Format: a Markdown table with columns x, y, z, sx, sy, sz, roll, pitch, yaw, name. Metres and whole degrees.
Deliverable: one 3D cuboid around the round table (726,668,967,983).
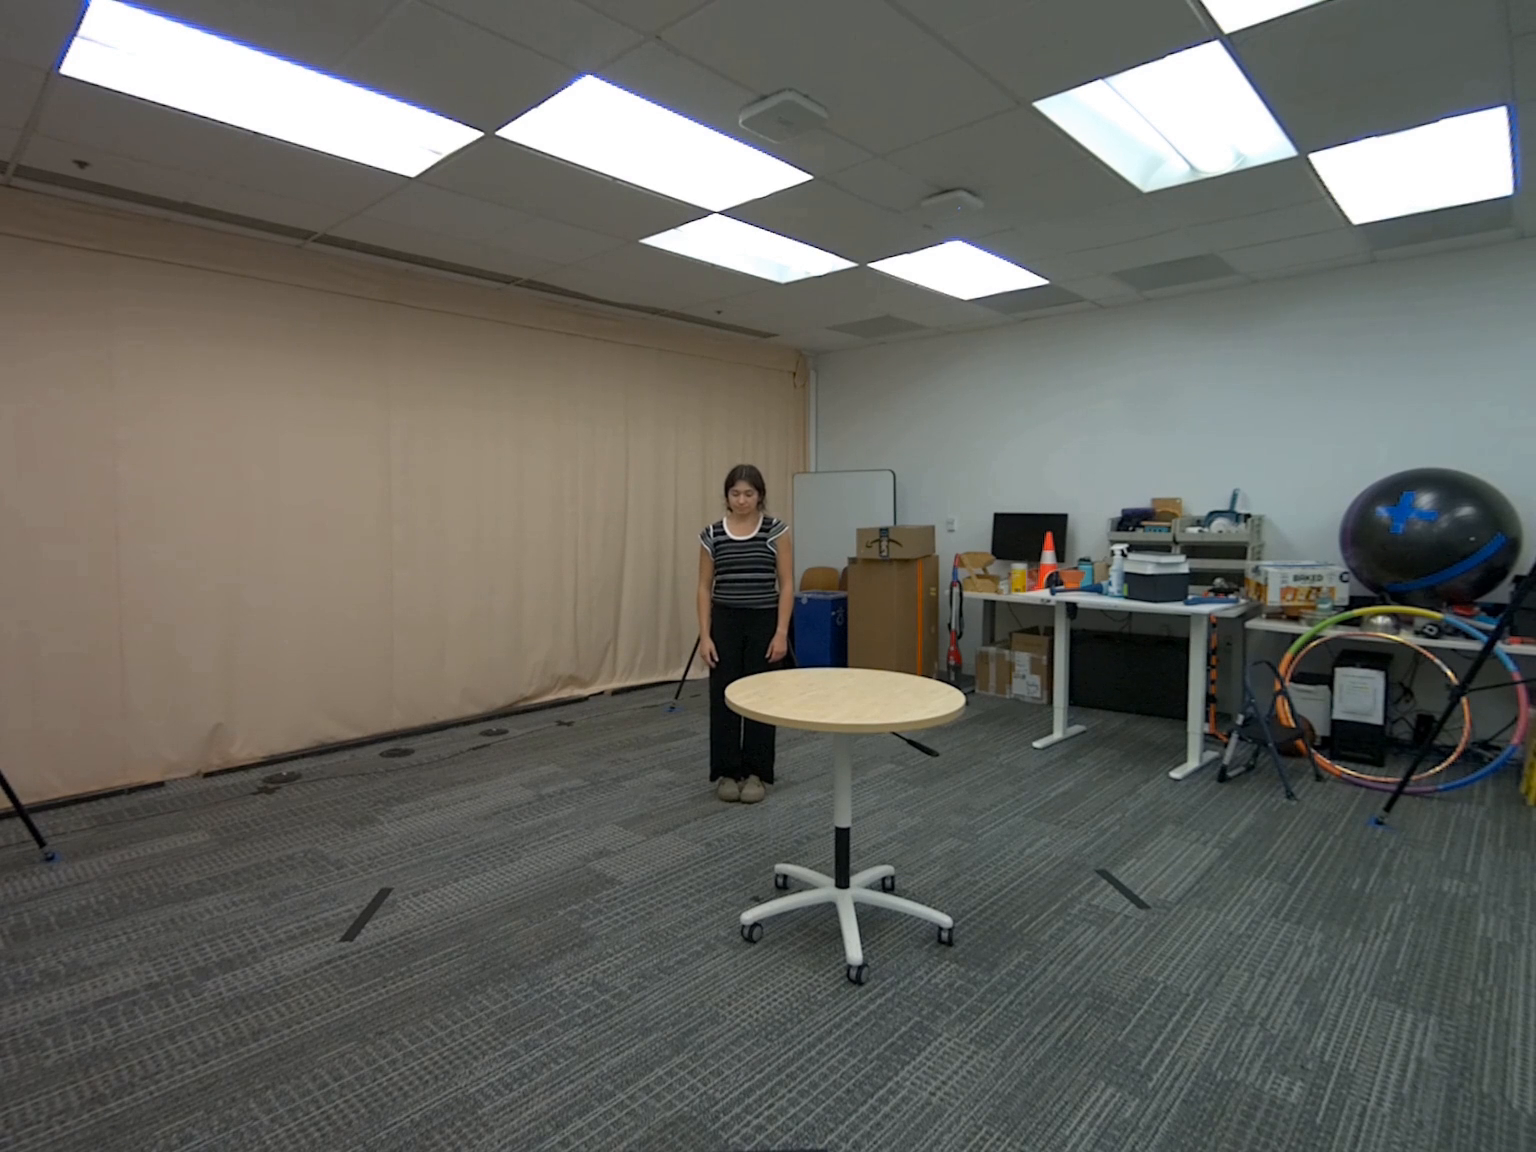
| x | y | z | sx | sy | sz | roll | pitch | yaw | name |
| --- | --- | --- | --- | --- | --- | --- | --- | --- | --- |
| 0.237 | 0.766 | 2.764 | 0.784 | 0.785 | 0.788 | 0 | 4 | -2 | round table |
